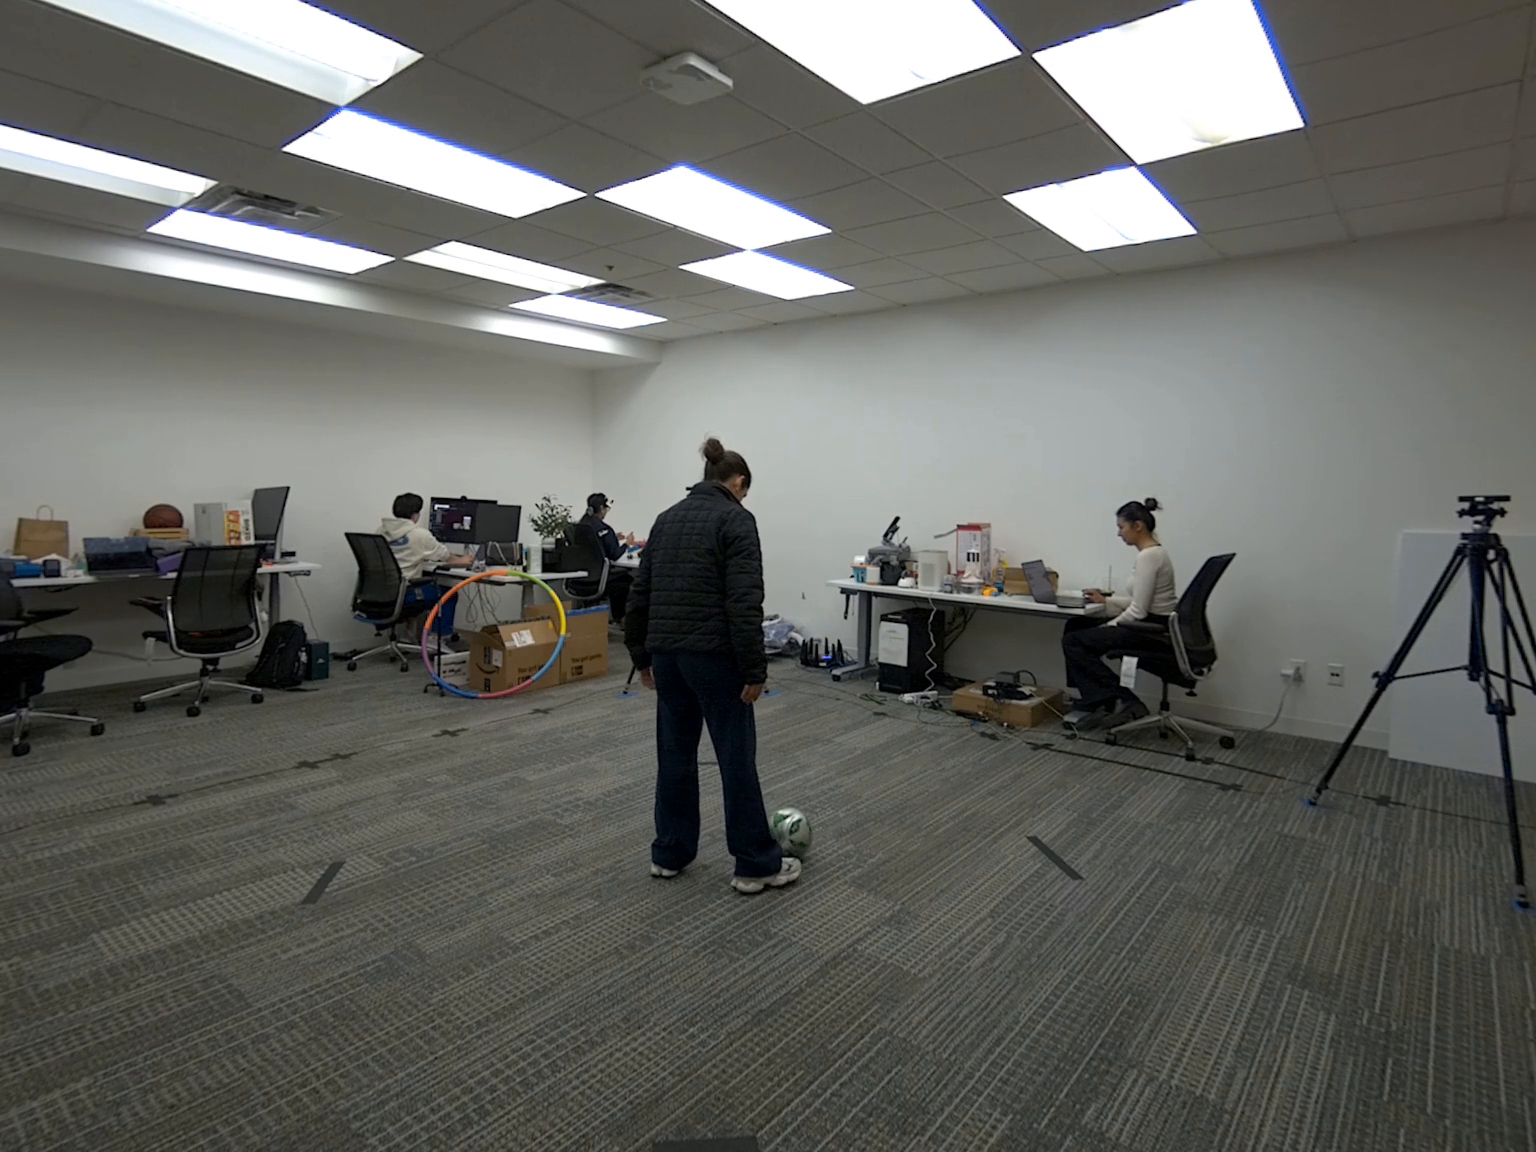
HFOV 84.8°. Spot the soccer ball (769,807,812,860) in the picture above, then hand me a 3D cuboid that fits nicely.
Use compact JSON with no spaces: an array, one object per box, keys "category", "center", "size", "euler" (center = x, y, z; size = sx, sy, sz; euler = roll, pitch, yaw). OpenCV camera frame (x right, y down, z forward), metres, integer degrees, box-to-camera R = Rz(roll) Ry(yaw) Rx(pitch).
[{"category":"soccer ball","center":[0.067,0.965,3.209],"size":[0.187,0.187,0.188],"euler":[1,4,-2]}]
